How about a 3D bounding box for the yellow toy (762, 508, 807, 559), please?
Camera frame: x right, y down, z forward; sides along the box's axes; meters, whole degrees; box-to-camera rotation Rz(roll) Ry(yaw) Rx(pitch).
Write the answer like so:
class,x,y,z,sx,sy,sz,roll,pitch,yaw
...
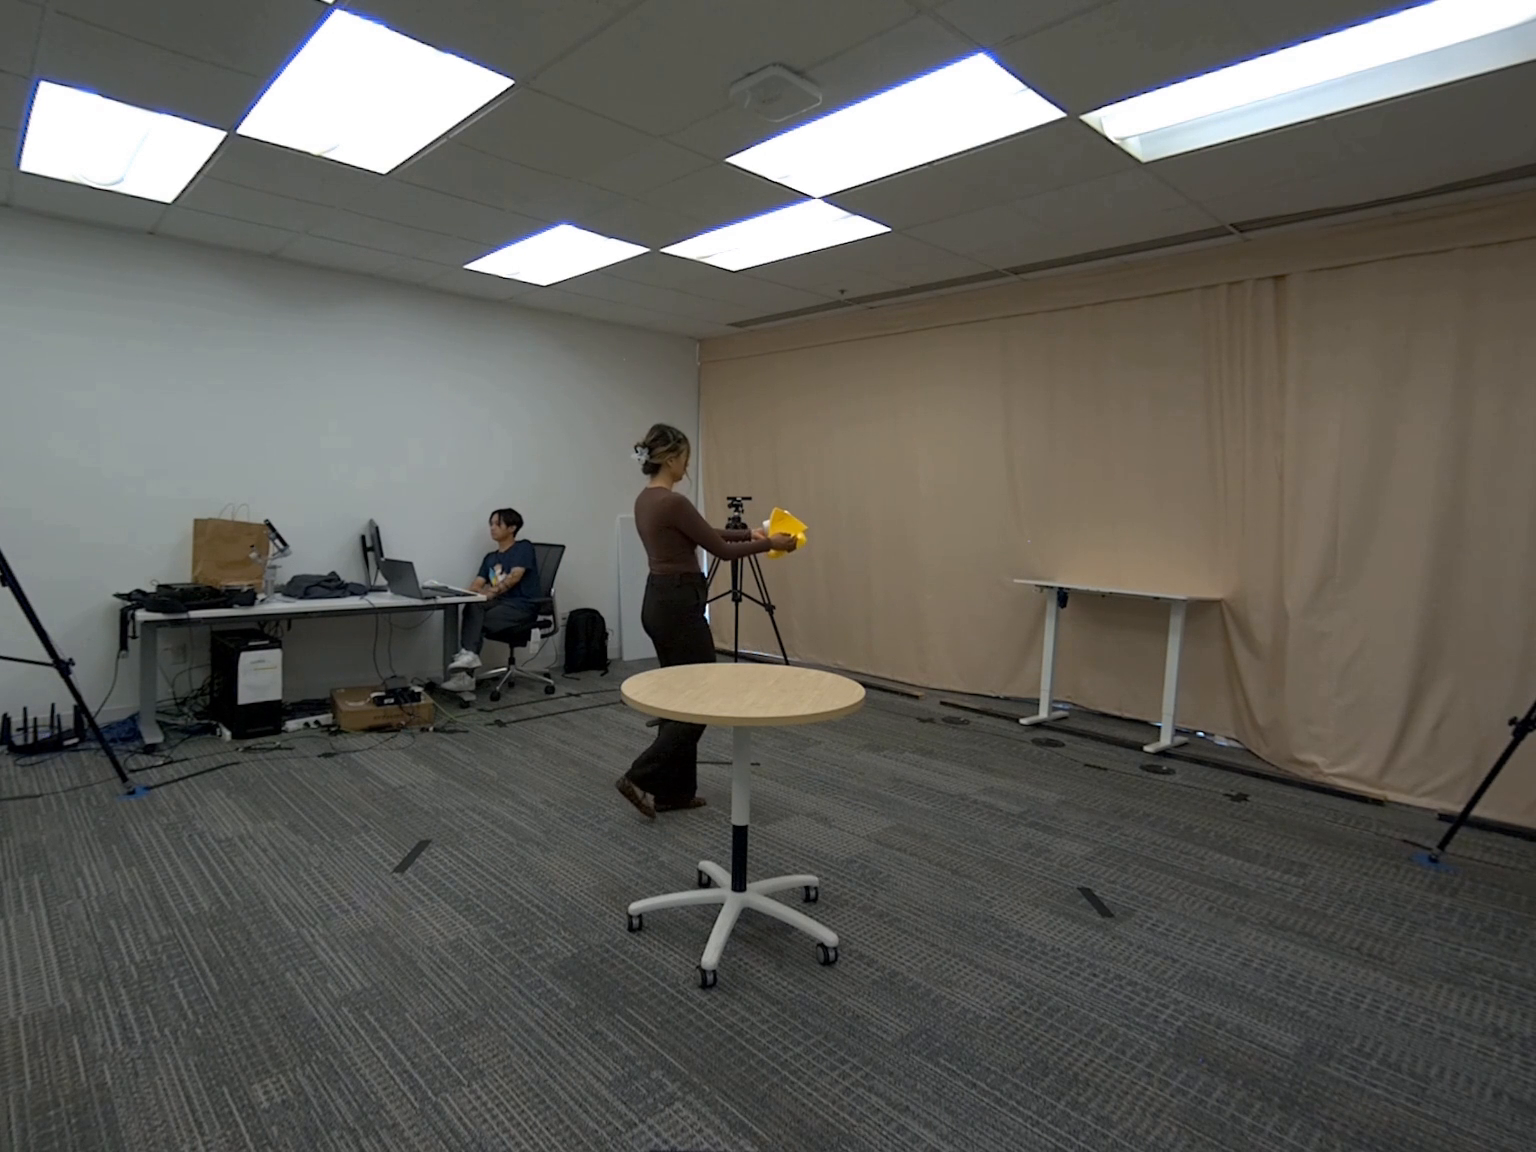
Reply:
class,x,y,z,sx,sy,sz,roll,pitch,yaw
yellow toy,0.032,-0.229,3.899,0.203,0.226,0.198,-27,26,-15
